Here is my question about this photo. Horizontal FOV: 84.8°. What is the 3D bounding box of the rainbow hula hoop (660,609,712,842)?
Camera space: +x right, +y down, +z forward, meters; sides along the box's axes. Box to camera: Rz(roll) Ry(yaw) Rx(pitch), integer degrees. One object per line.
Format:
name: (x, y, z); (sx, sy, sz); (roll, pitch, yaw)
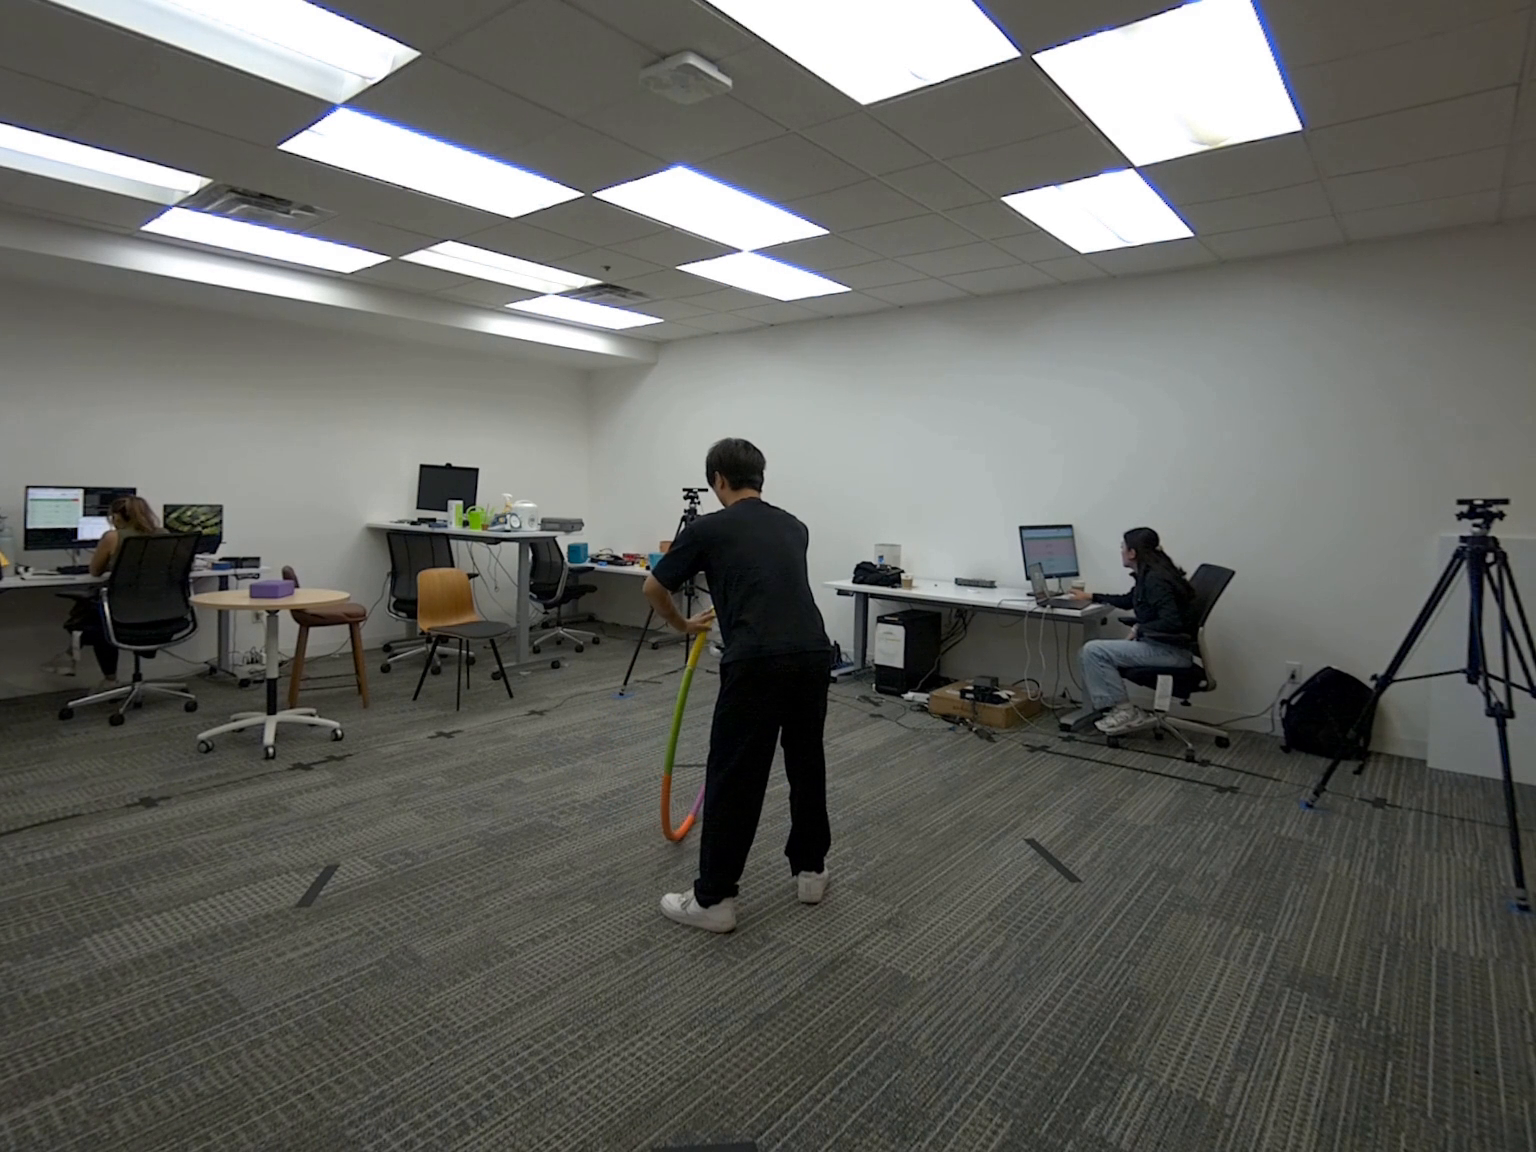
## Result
rainbow hula hoop: (-0.271, 0.560, 3.413); (0.036, 0.975, 0.969); (10, 6, 9)
